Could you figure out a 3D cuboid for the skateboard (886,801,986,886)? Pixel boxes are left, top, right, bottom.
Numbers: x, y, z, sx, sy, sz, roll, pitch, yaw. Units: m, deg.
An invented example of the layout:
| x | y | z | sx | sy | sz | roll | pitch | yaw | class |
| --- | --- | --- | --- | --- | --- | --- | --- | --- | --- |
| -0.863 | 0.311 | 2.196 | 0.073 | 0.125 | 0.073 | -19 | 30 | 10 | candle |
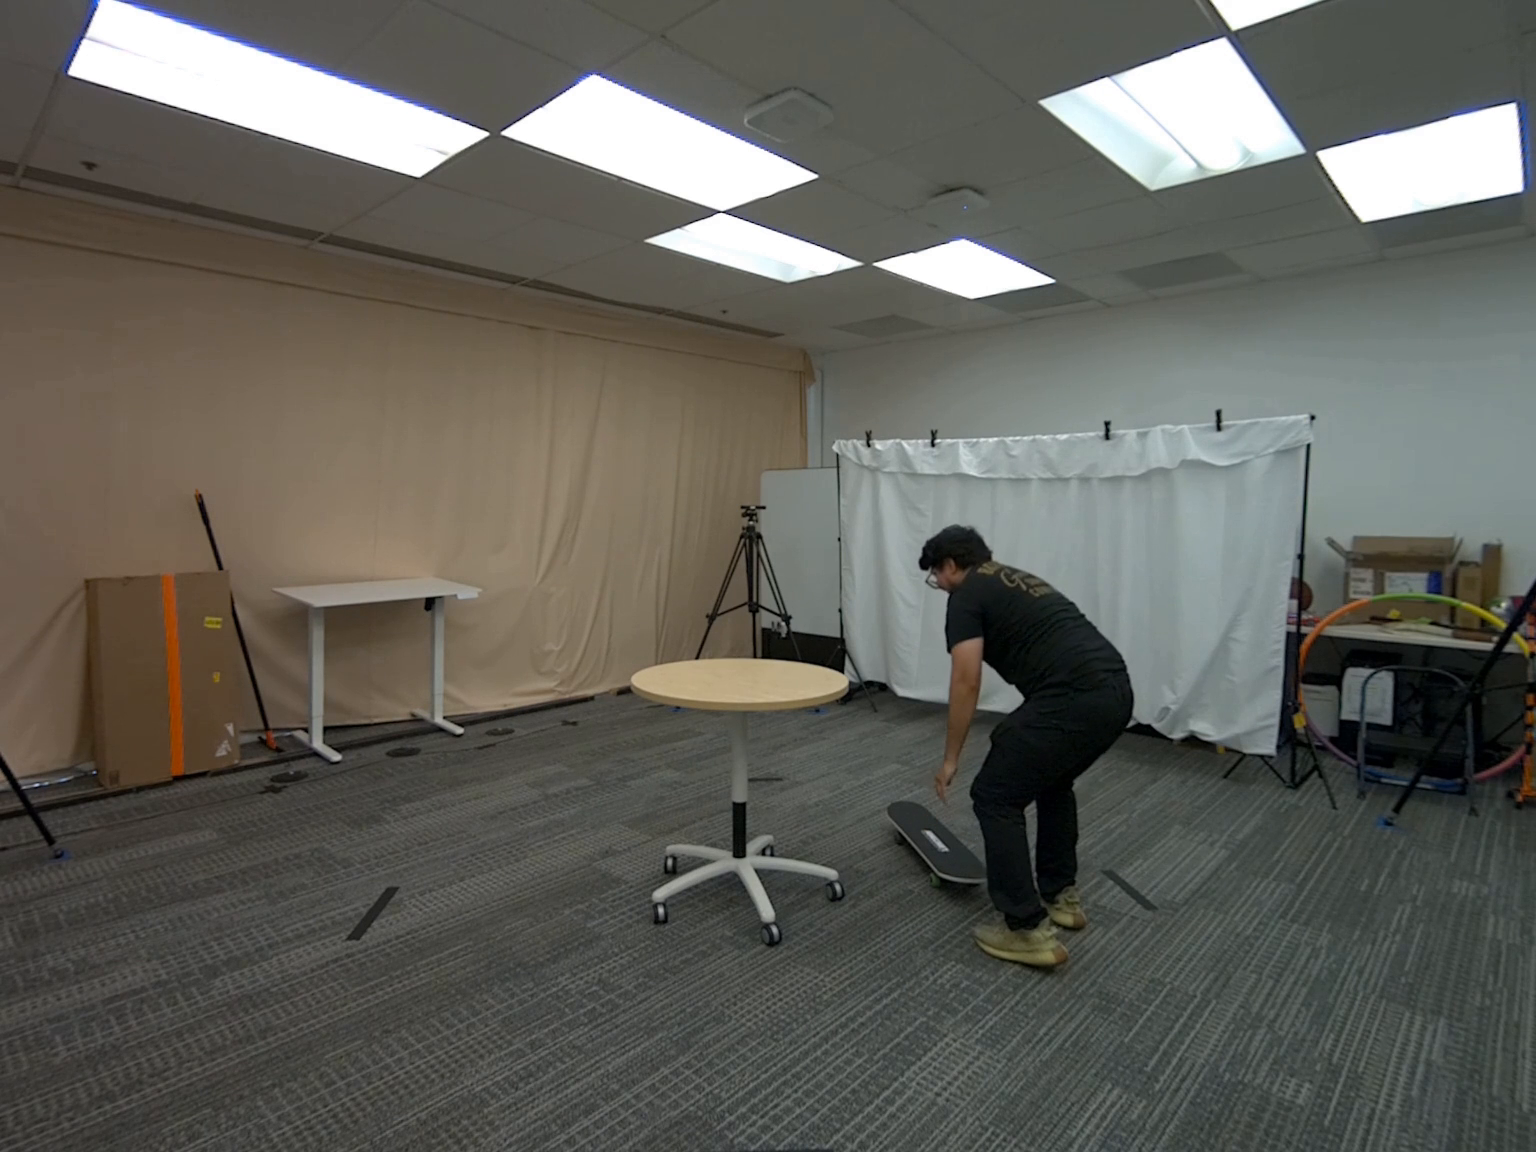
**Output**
| x | y | z | sx | sy | sz | roll | pitch | yaw | class |
| --- | --- | --- | --- | --- | --- | --- | --- | --- | --- |
| 0.652 | 1.062 | 3.277 | 0.192 | 0.110 | 0.794 | -1 | 5 | -9 | skateboard |
